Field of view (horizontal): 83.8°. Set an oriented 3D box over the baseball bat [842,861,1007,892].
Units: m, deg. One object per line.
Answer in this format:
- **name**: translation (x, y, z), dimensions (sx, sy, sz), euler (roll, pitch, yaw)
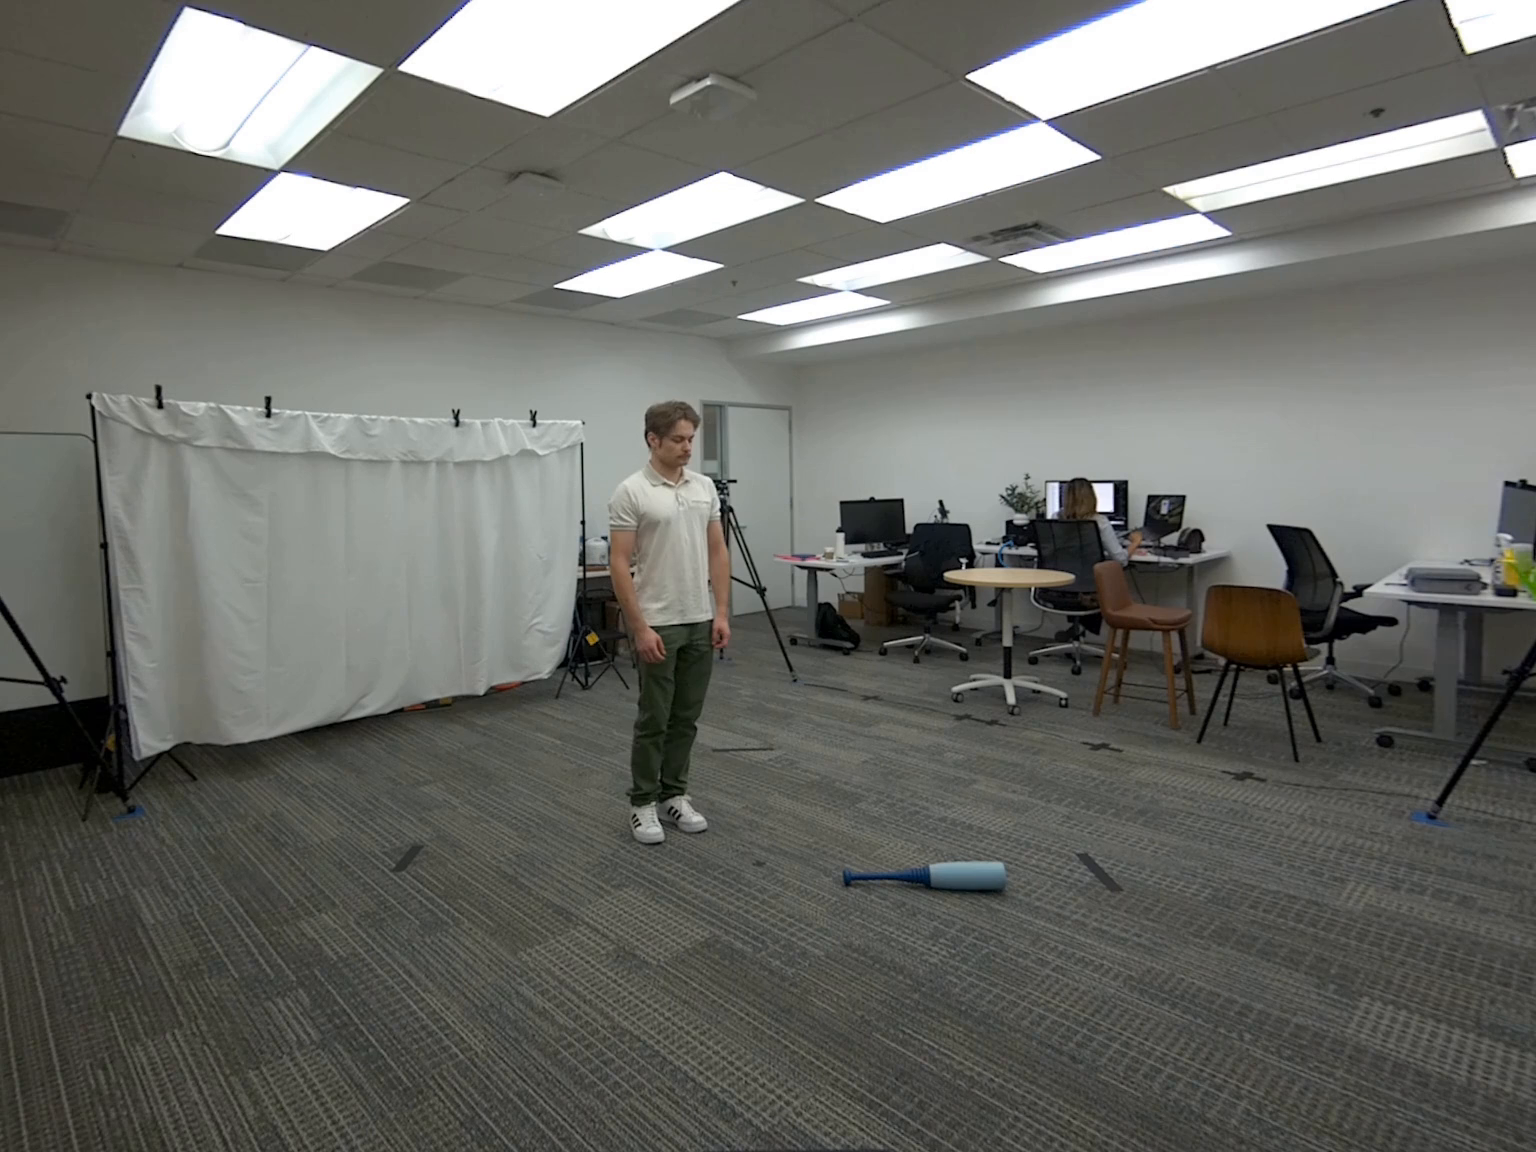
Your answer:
- **baseball bat**: translation (0.529, 1.023, 2.909), dimensions (0.546, 0.089, 0.089), euler (-4, 4, 7)
